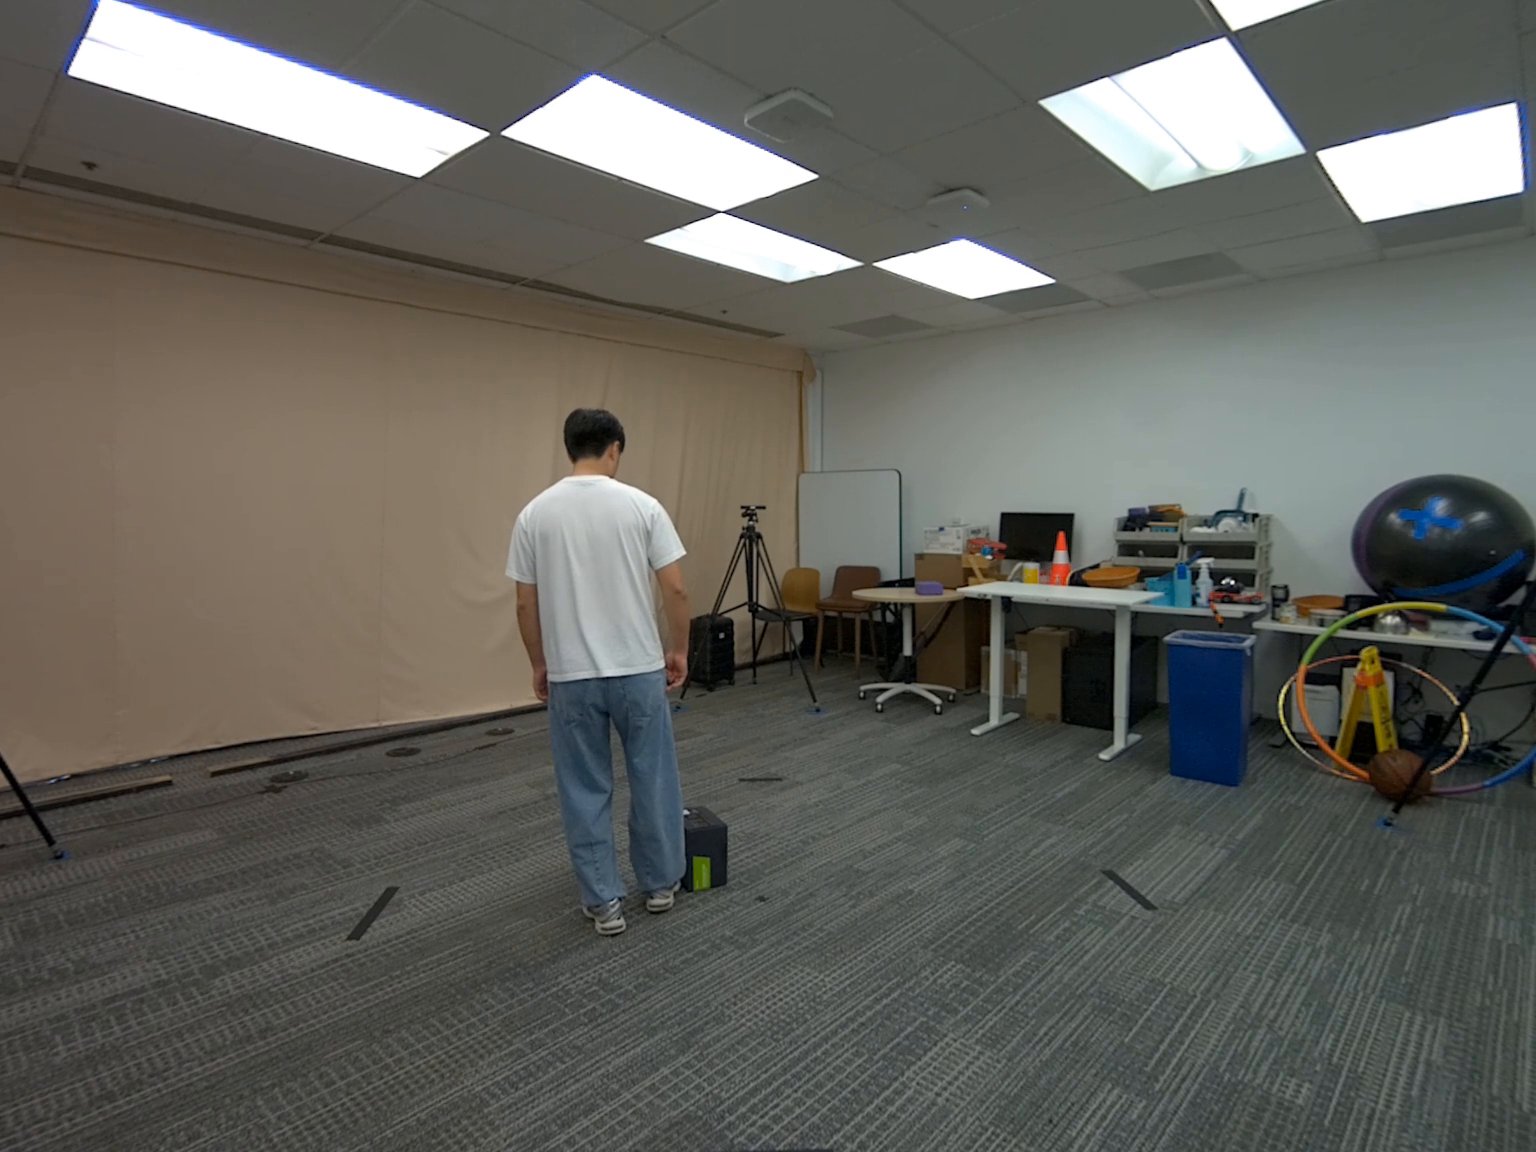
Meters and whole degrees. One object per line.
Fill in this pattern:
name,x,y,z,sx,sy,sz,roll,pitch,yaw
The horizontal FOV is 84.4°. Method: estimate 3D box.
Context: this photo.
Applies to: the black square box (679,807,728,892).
black square box,-0.264,1.011,3.143,0.152,0.227,0.223,-1,4,-28
